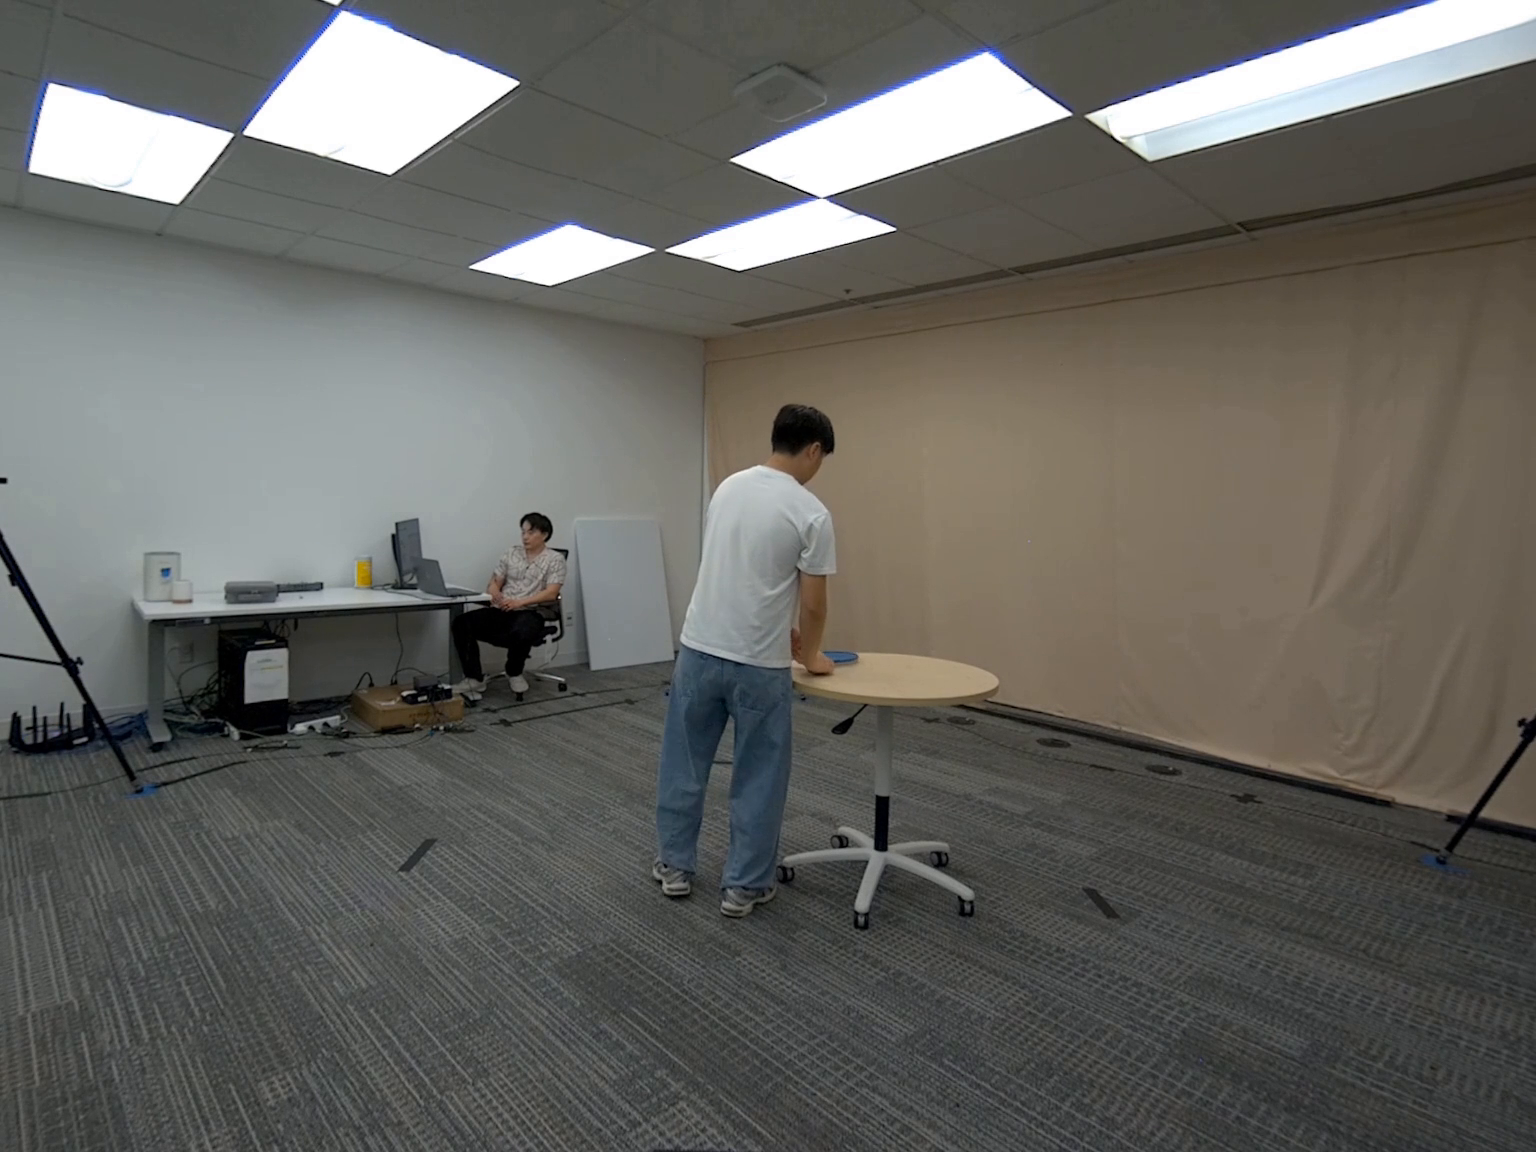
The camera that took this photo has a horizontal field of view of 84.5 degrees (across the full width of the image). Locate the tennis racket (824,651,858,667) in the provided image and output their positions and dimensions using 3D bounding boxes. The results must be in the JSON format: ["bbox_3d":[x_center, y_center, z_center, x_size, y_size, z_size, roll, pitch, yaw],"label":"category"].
[{"bbox_3d":[0.199,0.310,3.144,0.217,0.032,0.427,1,3,18],"label":"tennis racket"}]
